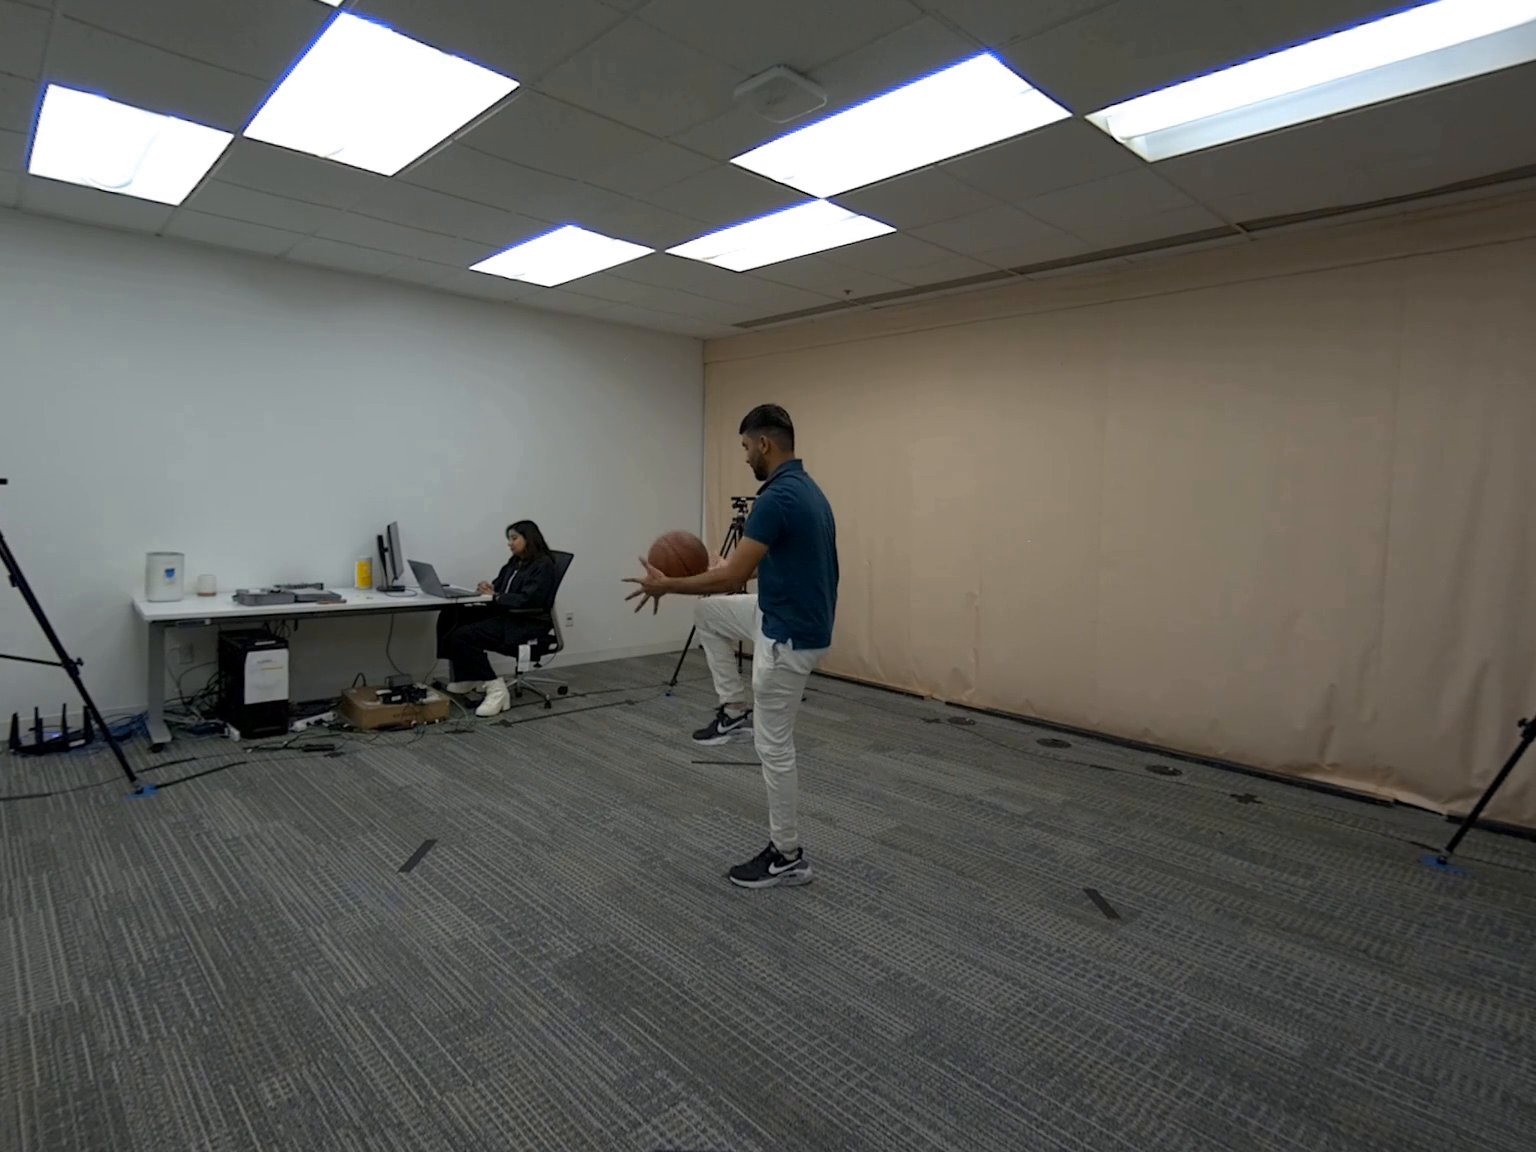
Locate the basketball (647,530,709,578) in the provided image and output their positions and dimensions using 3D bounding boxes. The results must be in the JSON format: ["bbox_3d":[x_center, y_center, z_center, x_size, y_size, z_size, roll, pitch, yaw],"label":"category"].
[{"bbox_3d":[-0.373,-0.125,3.239,0.236,0.235,0.237,1,4,-1],"label":"basketball"}]
